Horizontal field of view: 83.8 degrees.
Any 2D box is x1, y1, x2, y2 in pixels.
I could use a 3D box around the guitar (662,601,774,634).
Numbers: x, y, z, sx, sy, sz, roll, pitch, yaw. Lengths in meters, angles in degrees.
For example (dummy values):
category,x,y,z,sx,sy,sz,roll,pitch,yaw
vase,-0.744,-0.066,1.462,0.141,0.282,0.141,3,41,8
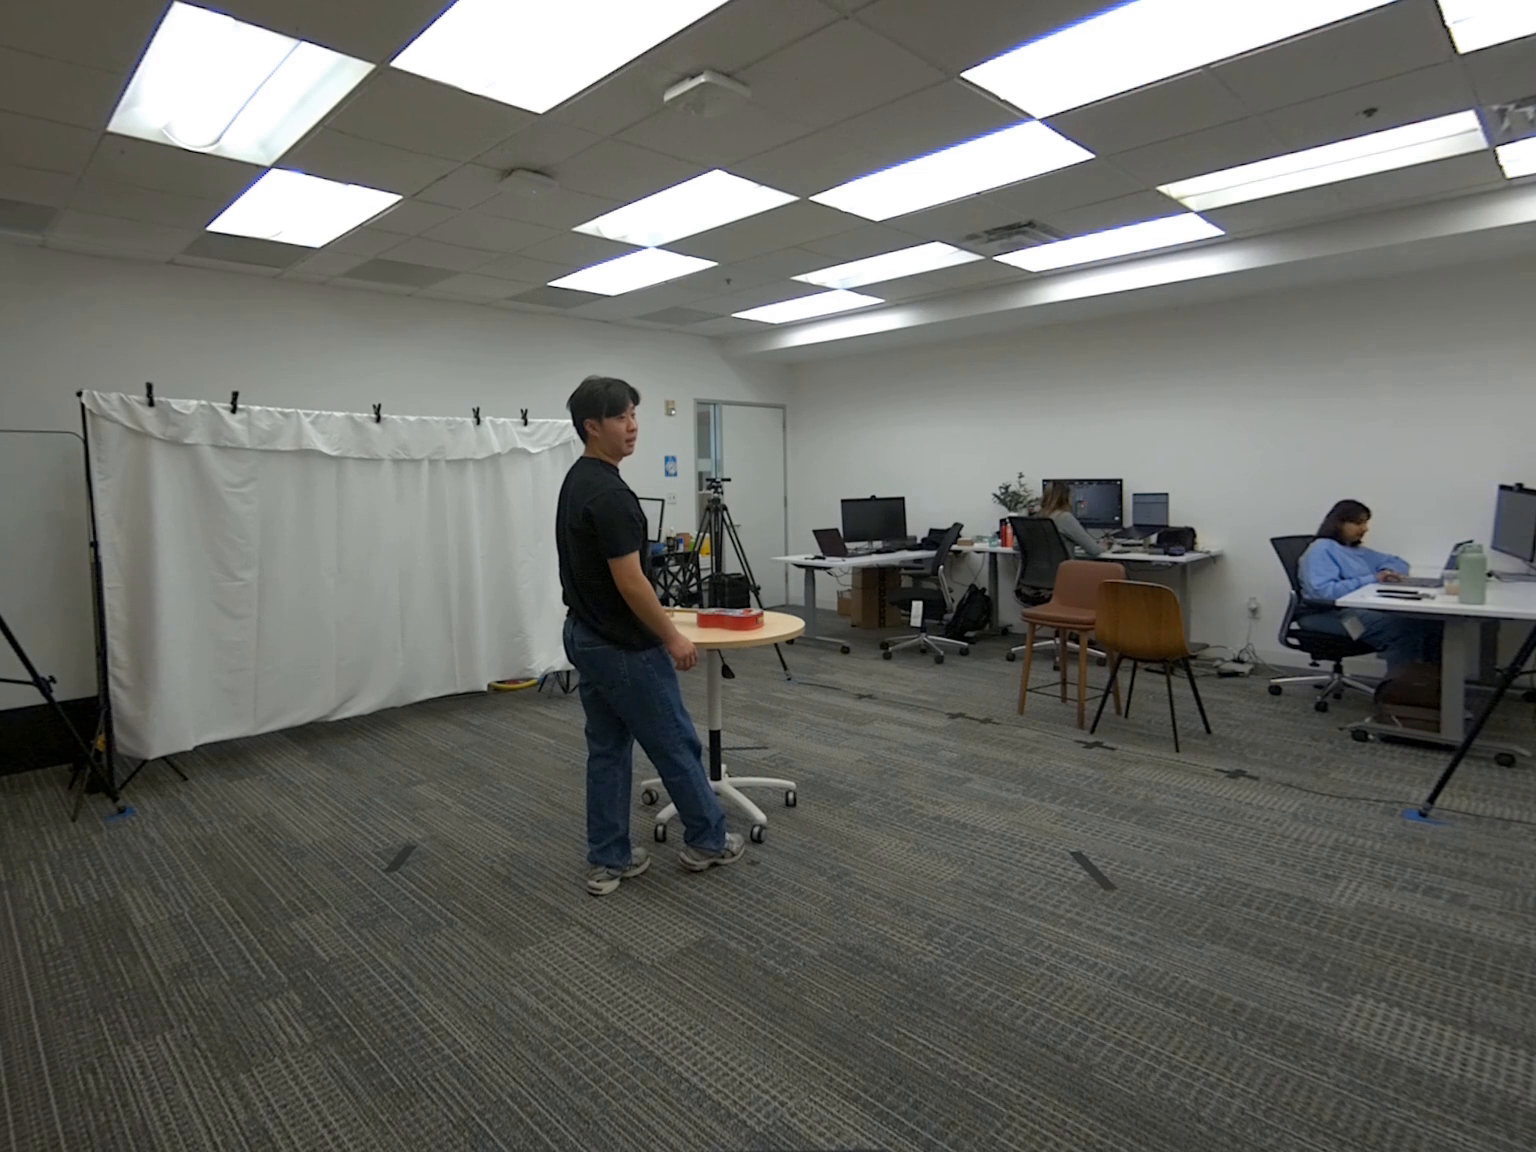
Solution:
category,x,y,z,sx,sy,sz,roll,pitch,yaw
guitar,-0.245,0.167,3.555,0.511,0.070,0.189,3,8,29
